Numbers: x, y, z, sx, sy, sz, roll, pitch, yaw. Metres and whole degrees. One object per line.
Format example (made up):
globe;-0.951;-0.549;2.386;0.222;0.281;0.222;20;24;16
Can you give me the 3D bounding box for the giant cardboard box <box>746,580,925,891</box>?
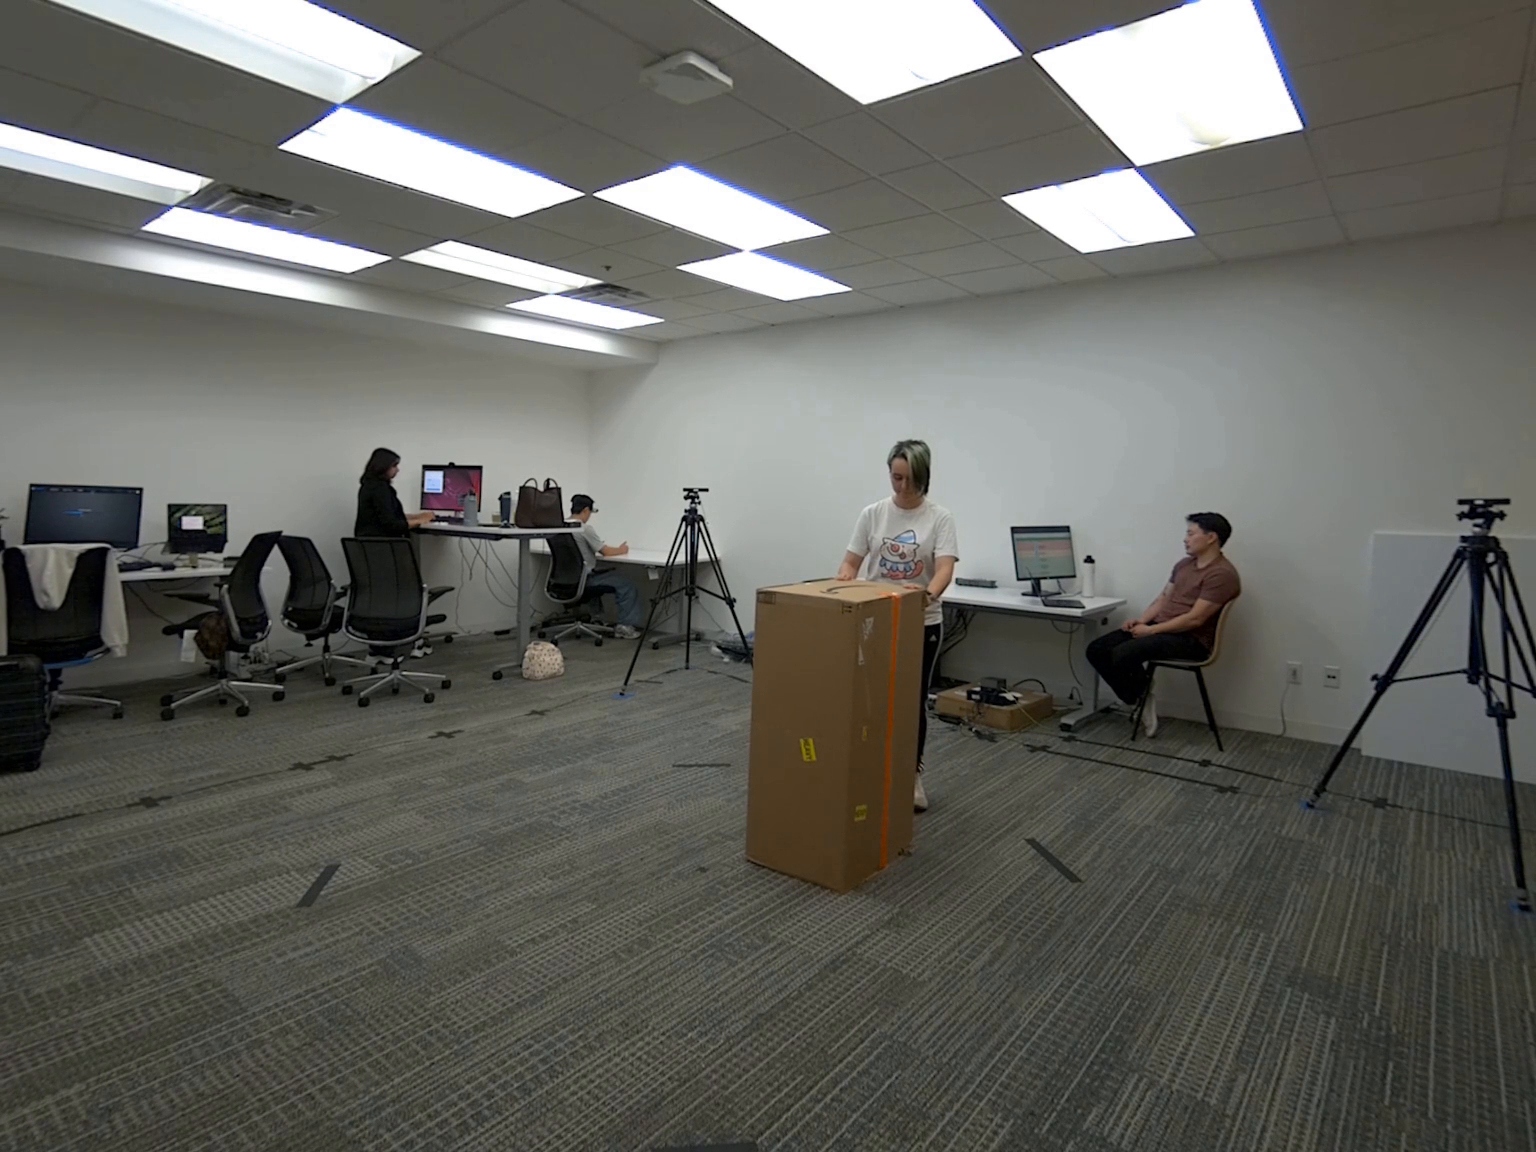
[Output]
giant cardboard box;0.260;0.557;3.249;0.461;1.024;0.567;4;4;34
